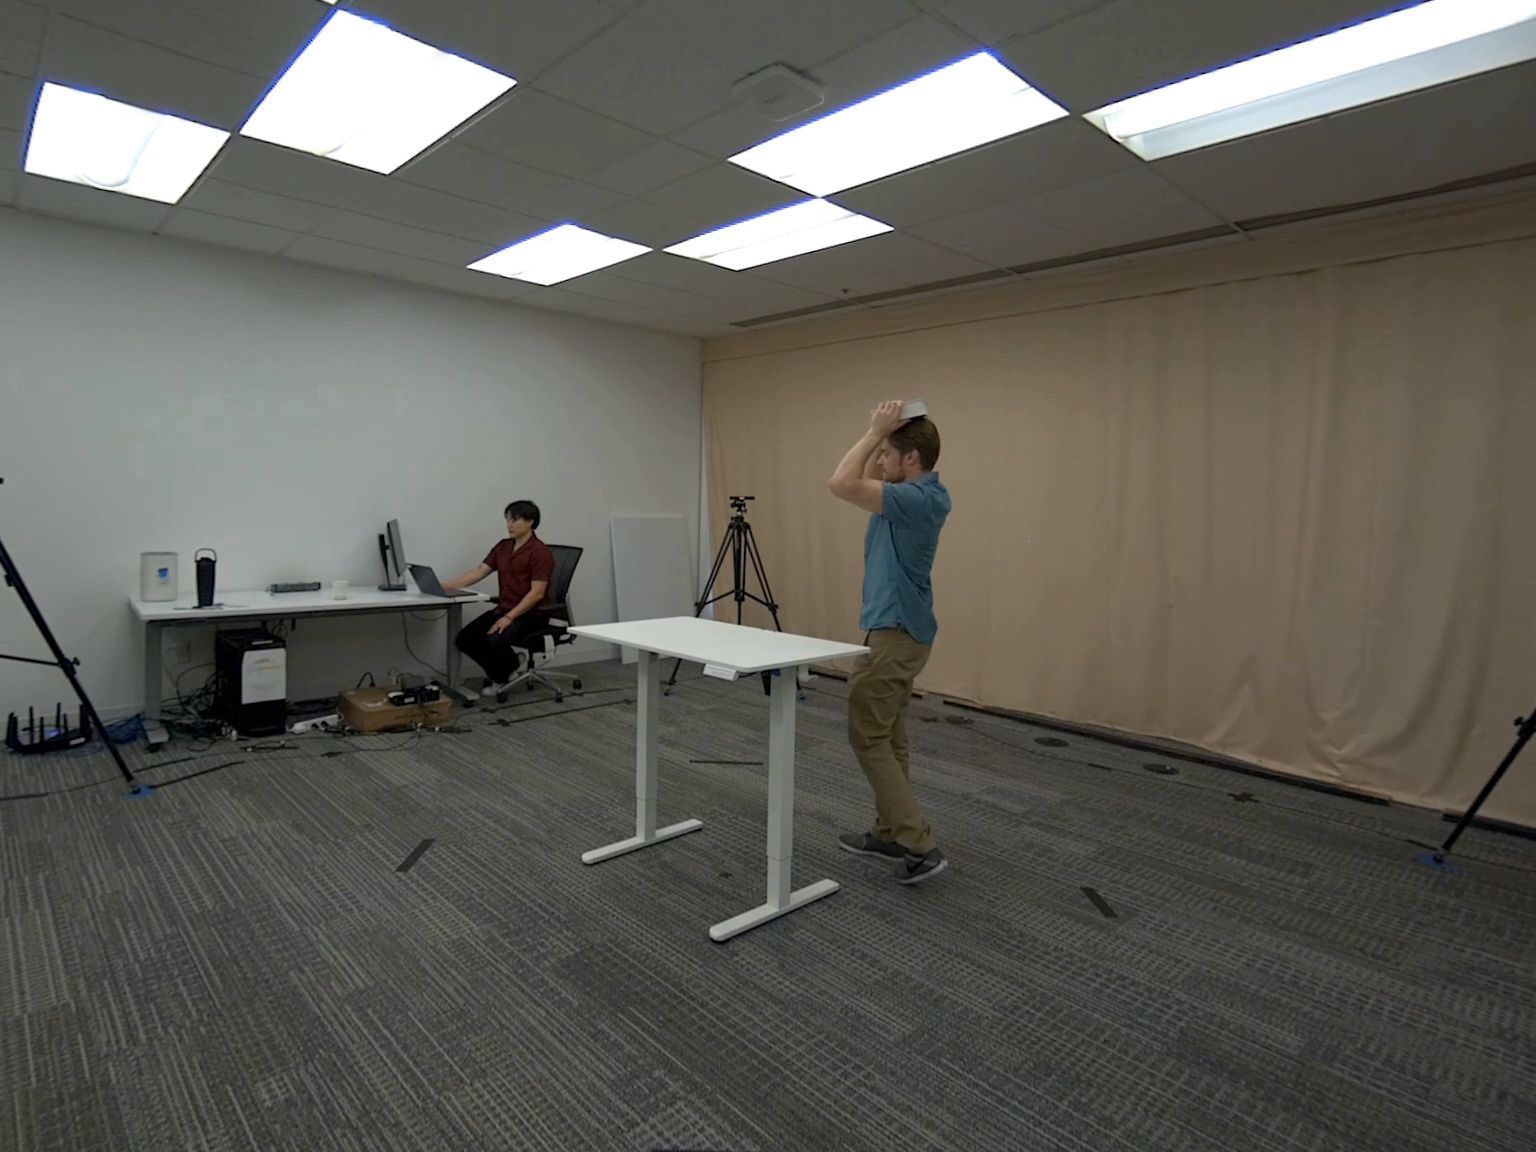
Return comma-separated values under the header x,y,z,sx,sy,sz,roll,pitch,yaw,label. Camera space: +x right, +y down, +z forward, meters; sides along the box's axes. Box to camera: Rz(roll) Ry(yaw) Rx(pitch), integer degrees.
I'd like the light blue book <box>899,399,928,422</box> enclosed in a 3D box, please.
x,y,z,sx,sy,sz,roll,pitch,yaw,label
0.480,-0.603,3.137,0.193,0.059,0.260,-13,4,11,light blue book
